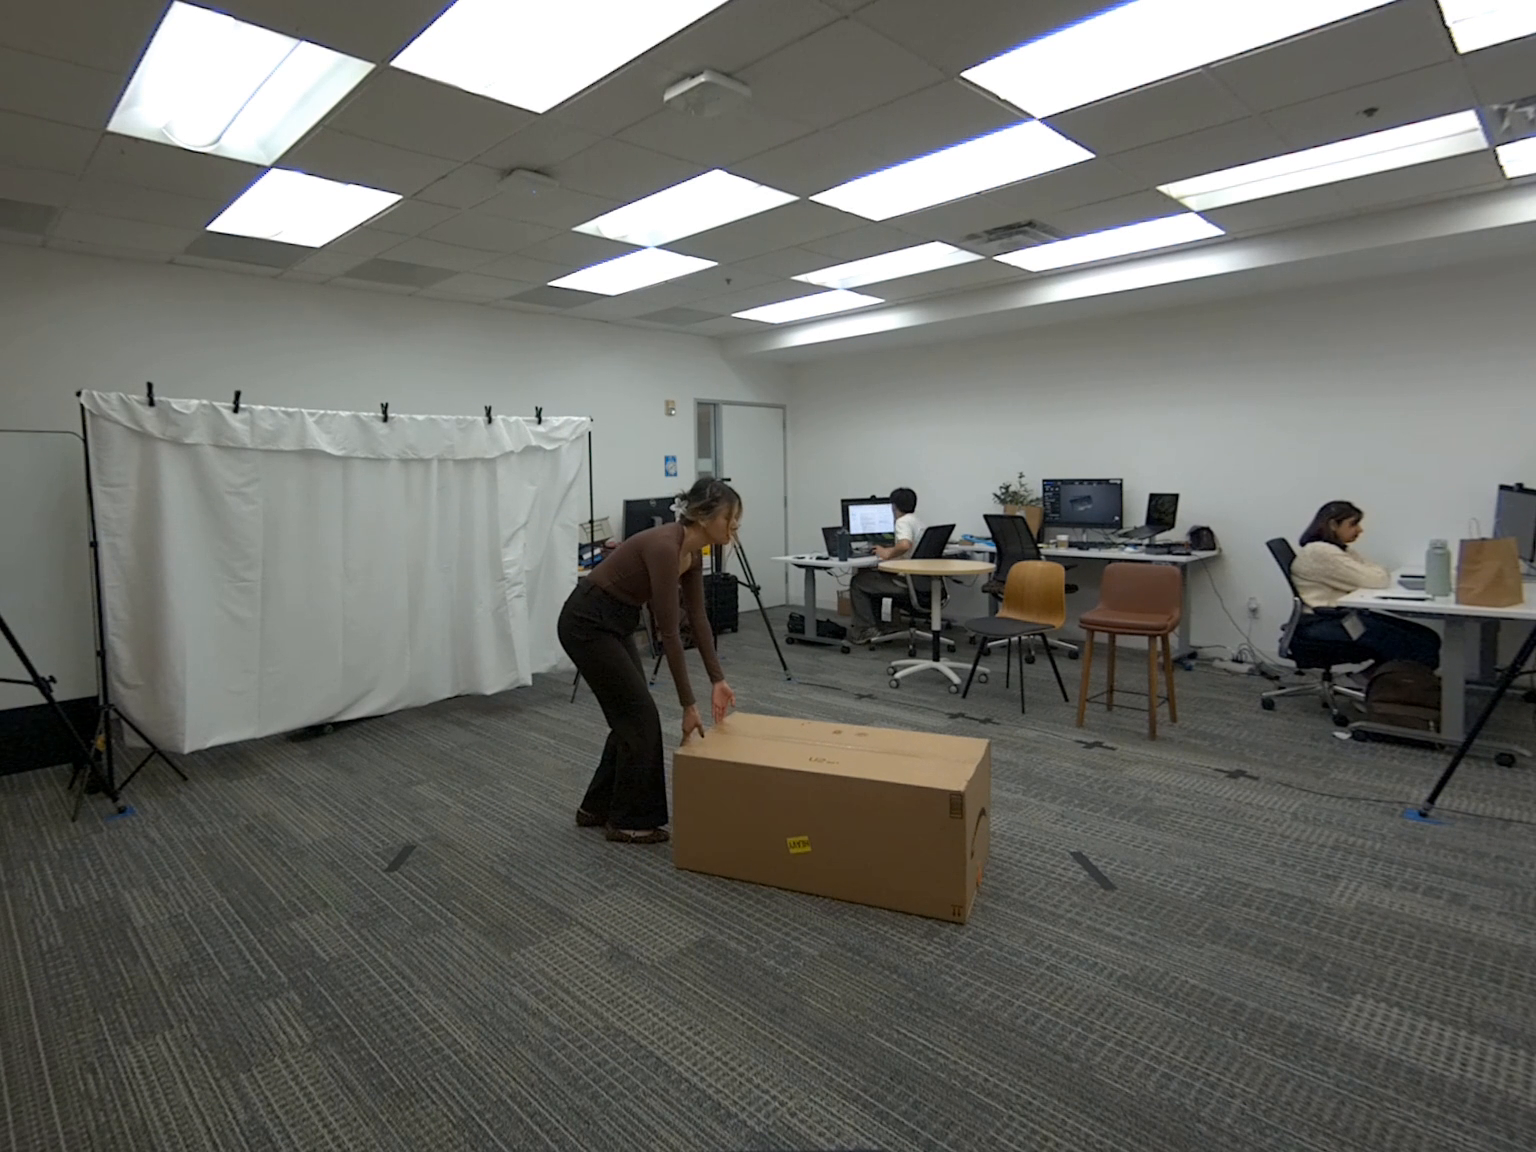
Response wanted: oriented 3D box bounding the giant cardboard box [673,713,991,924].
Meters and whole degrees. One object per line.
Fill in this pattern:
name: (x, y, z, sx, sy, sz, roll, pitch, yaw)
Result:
giant cardboard box: (0.236, 0.826, 3.104, 1.050, 0.444, 0.574, 1, 7, 24)
